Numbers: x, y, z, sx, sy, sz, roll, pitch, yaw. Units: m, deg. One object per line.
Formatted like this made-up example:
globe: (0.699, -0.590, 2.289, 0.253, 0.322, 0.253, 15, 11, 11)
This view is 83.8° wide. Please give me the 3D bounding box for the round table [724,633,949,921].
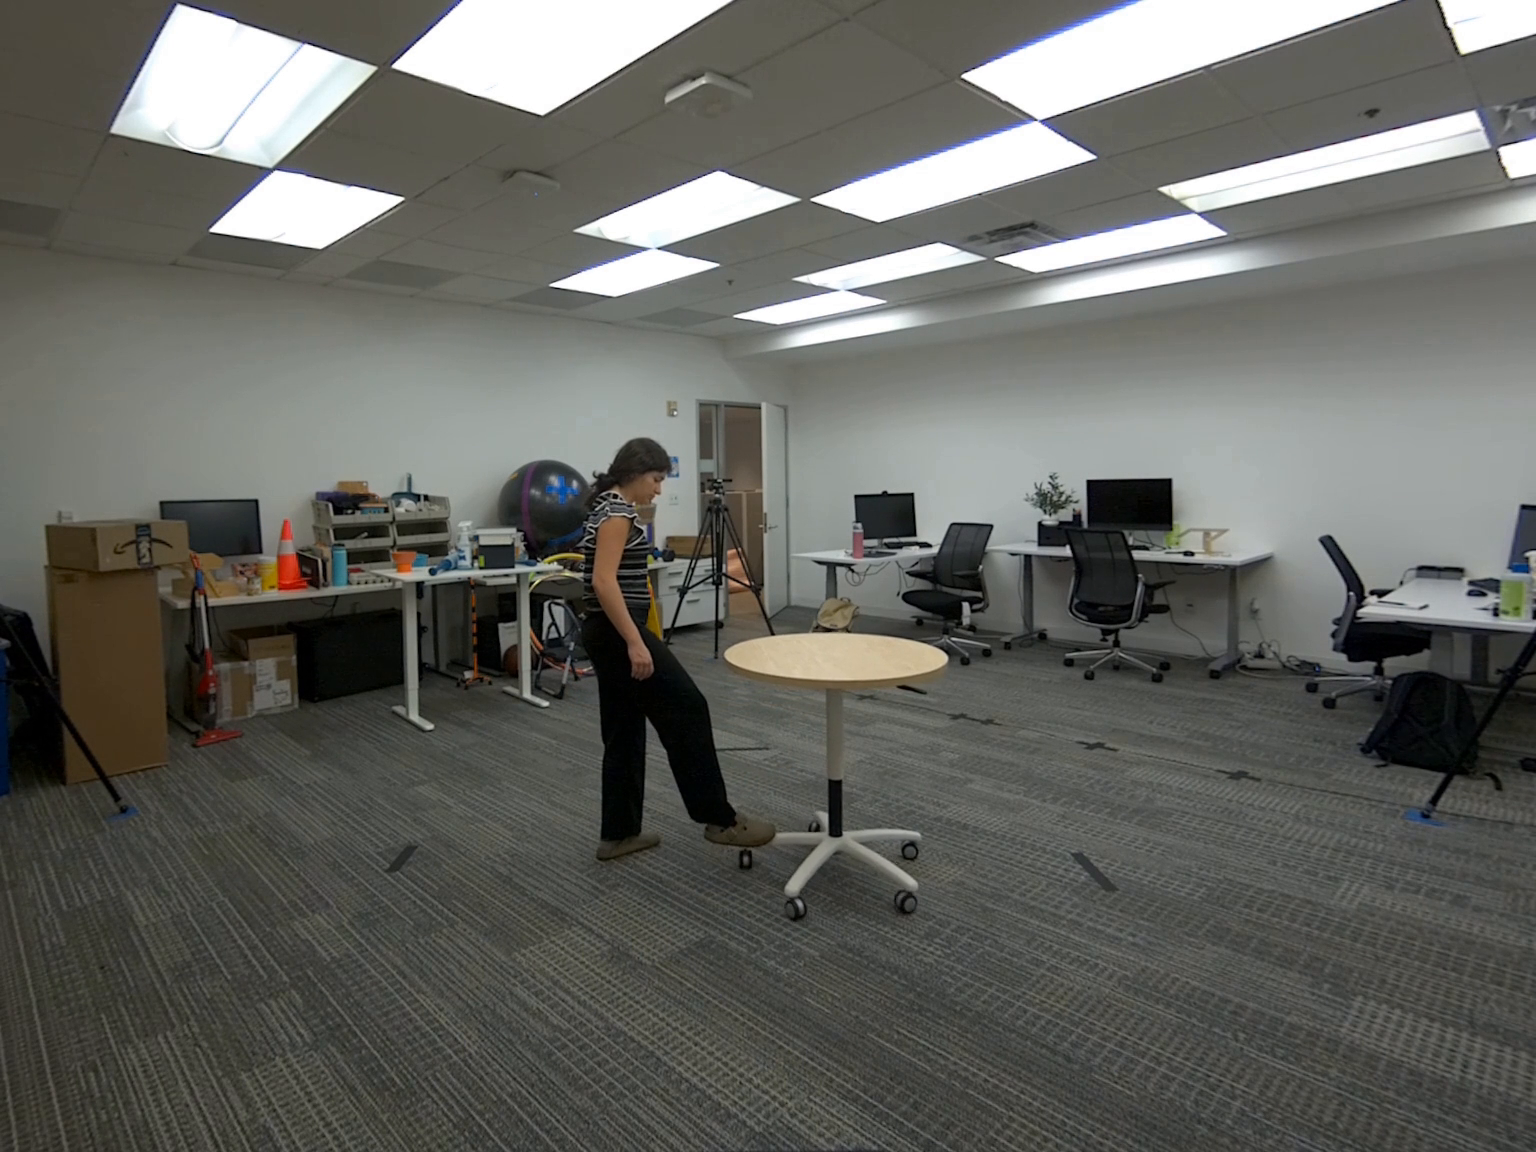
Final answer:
round table: (0.222, 0.654, 2.994, 0.784, 0.783, 0.789, 0, 5, -2)
